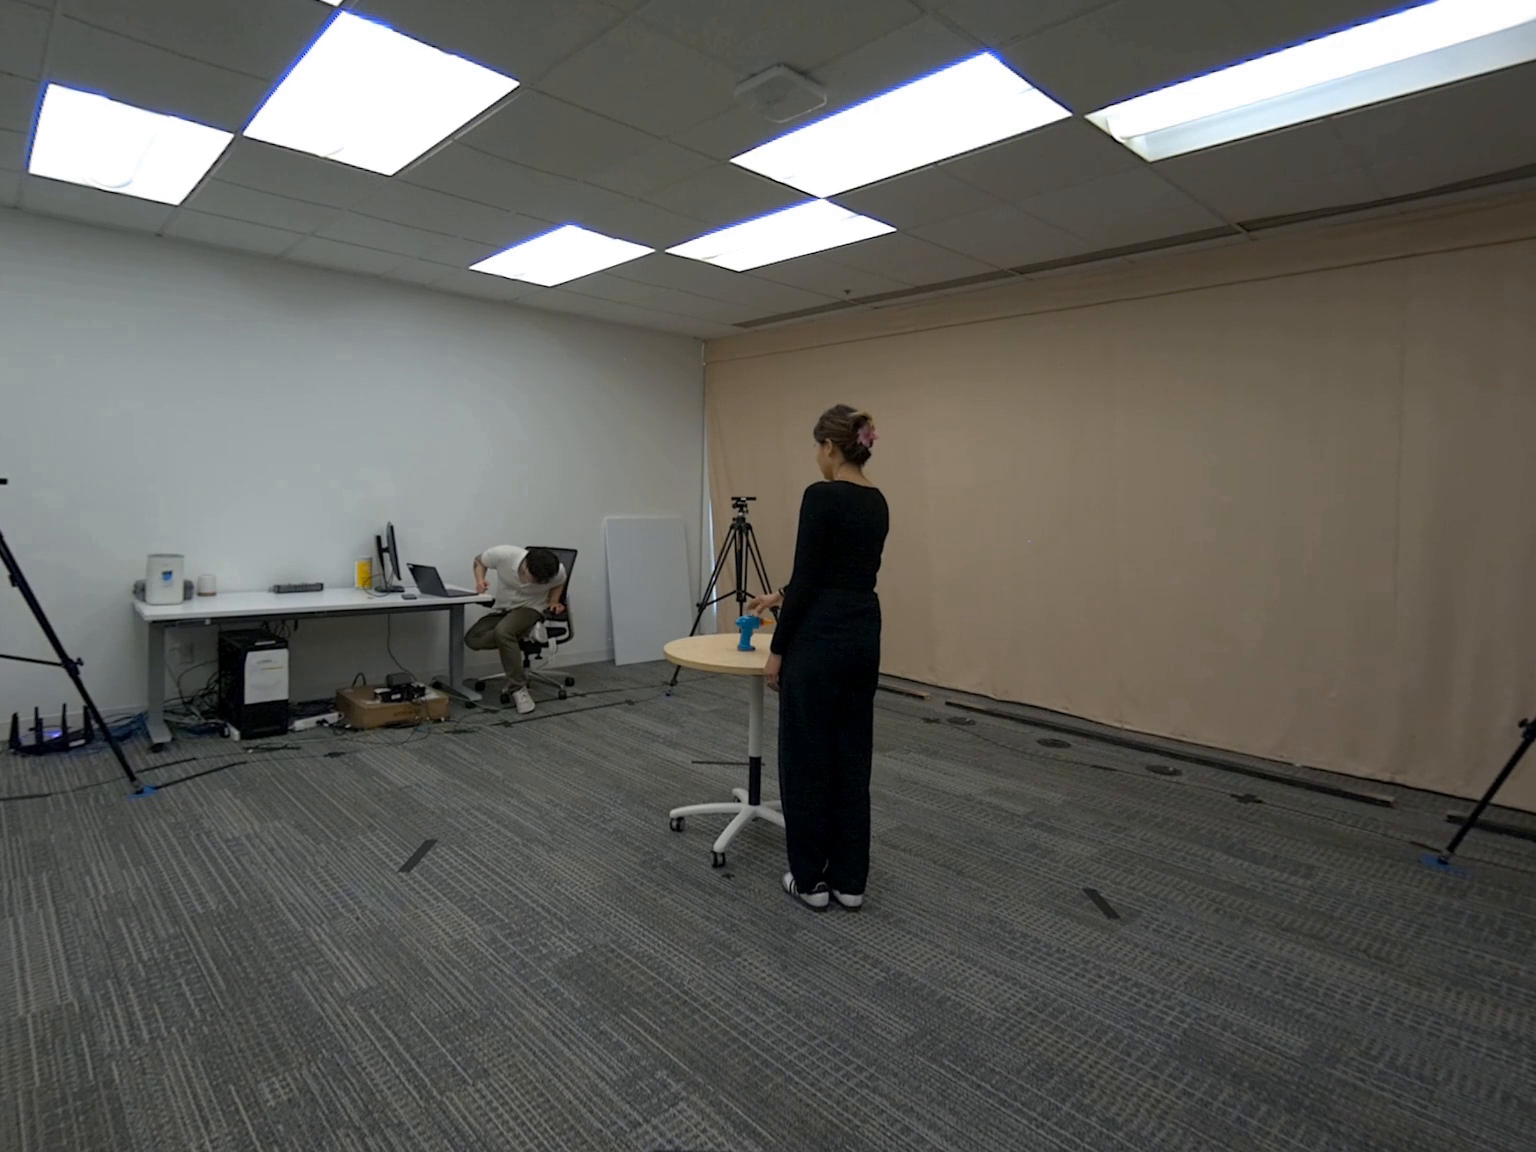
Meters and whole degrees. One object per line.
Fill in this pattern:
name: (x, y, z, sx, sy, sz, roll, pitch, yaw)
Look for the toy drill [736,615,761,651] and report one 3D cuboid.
toy drill: (-0.054, 0.228, 3.397, 0.168, 0.145, 0.062, 1, 7, -15)
